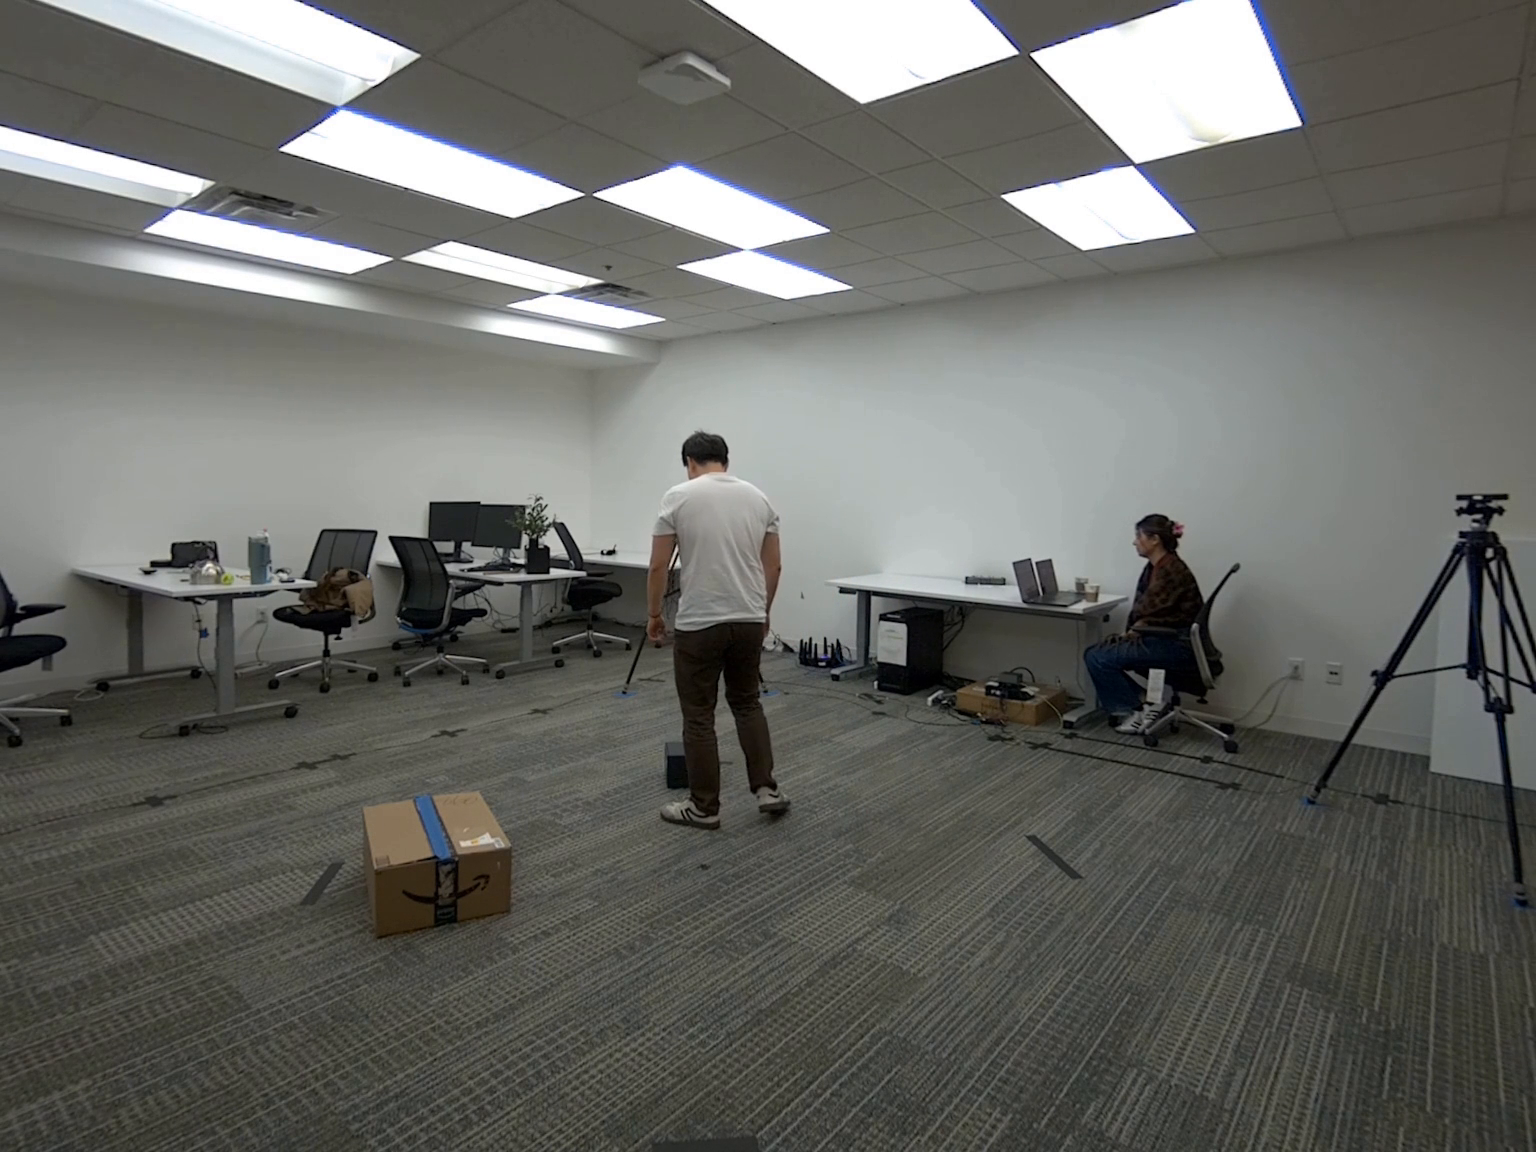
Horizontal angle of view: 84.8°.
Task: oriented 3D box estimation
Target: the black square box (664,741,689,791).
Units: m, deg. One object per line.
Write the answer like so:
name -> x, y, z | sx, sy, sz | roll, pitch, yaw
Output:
black square box -> -0.385, 0.888, 4.049 | 0.226, 0.155, 0.219 | 0, 4, -9
